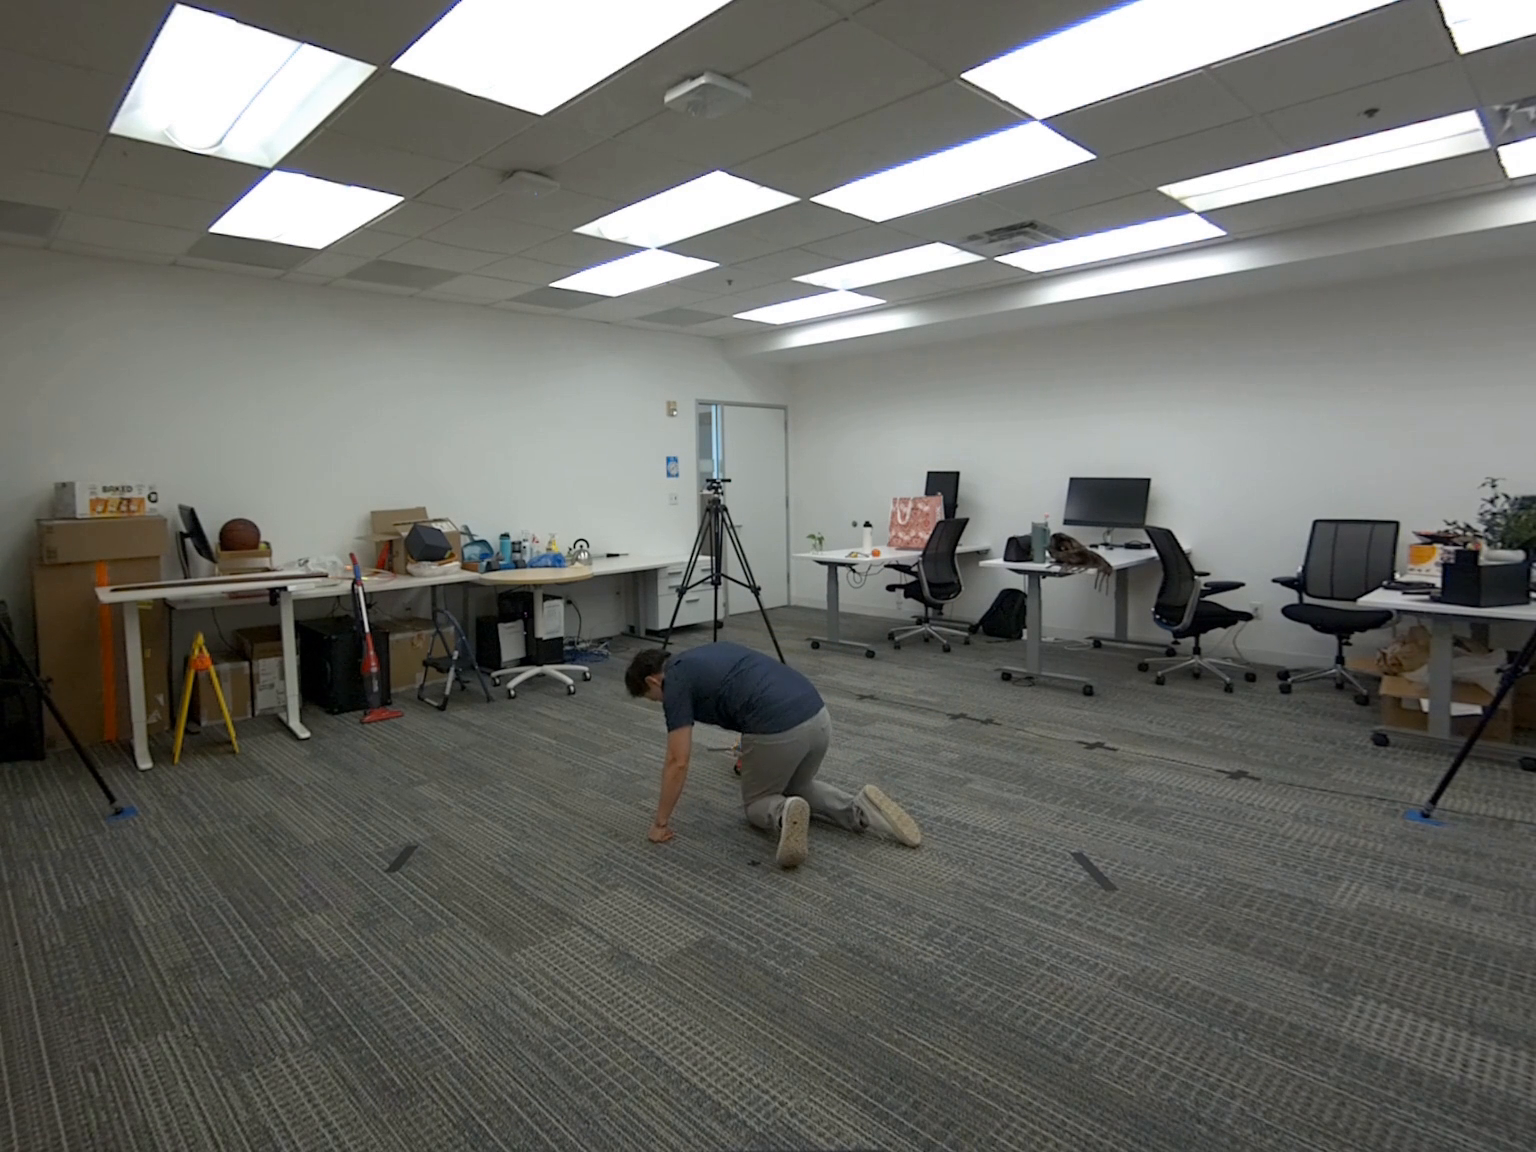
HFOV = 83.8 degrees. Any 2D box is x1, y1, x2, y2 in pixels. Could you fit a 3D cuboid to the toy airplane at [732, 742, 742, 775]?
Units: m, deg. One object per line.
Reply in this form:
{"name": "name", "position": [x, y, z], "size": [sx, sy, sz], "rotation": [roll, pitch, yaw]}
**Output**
{"name": "toy airplane", "position": [-0.049, 0.863, 4.100], "size": [0.256, 0.156, 0.255], "rotation": [-3, 6, -12]}
